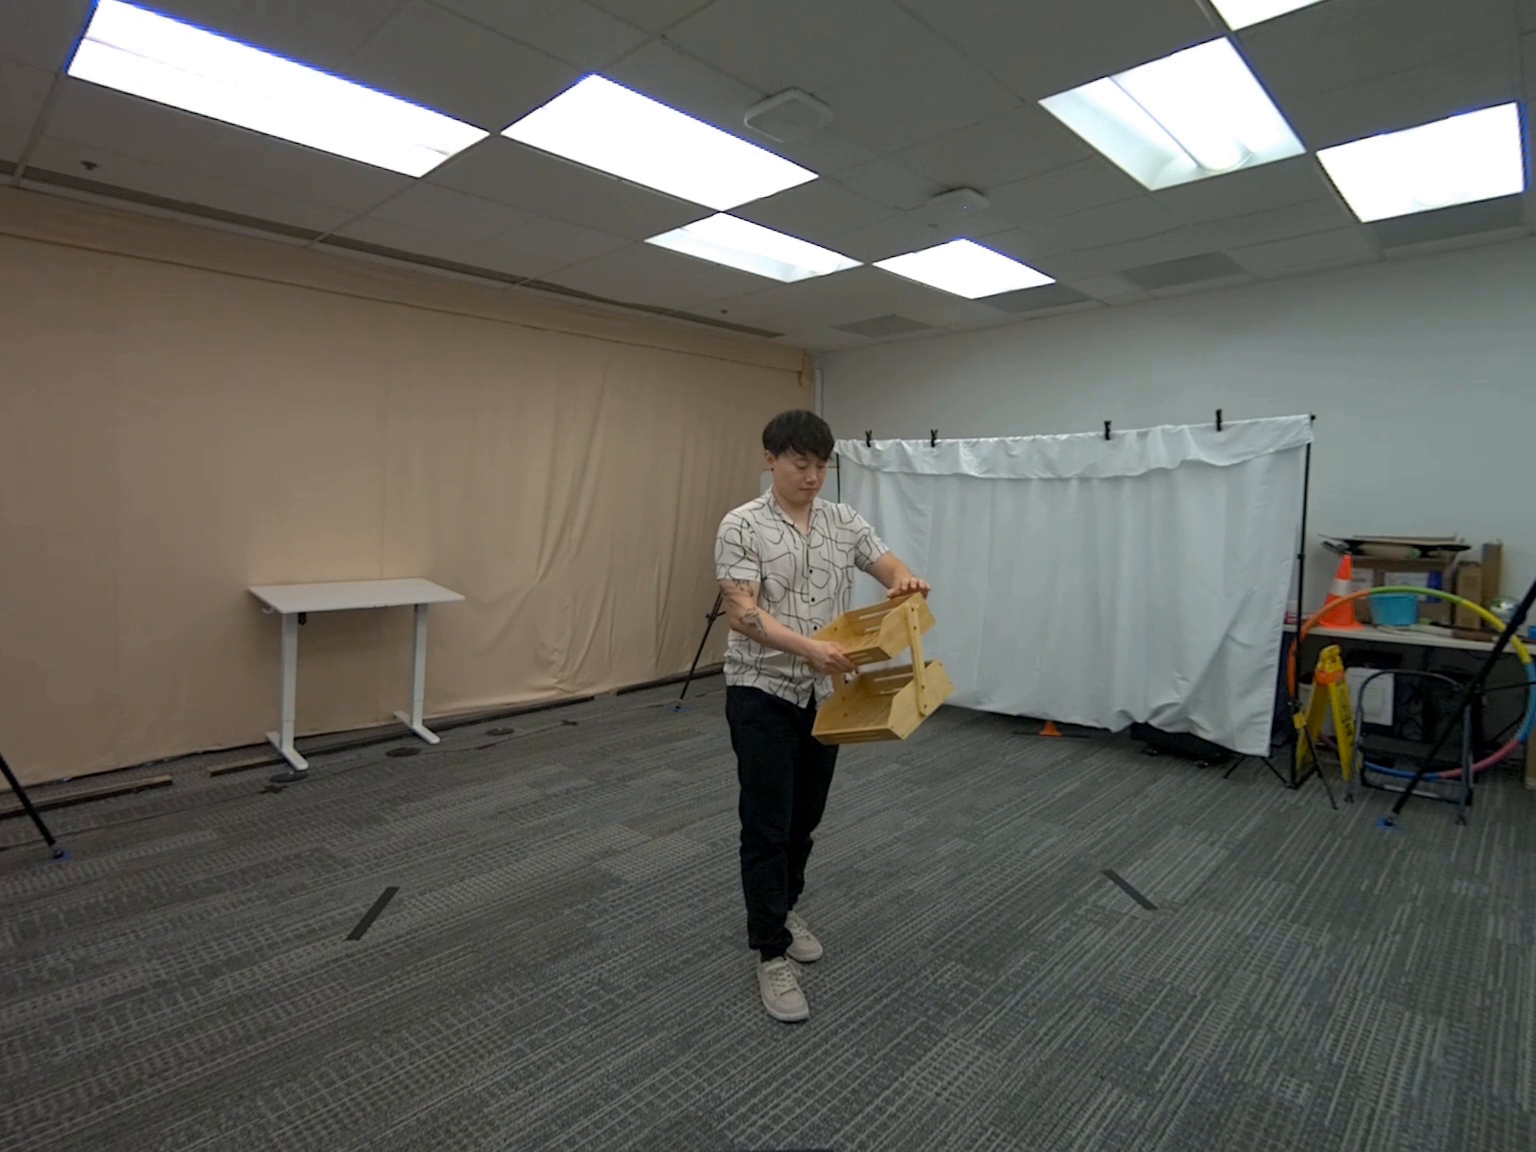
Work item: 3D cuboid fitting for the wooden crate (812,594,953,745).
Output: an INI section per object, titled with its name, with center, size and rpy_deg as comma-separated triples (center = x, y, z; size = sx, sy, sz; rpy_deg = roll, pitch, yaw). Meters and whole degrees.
[wooden crate]
center = 0.262, 0.248, 2.192
size = 0.297, 0.272, 0.331
rpy_deg = -31, 6, -37
